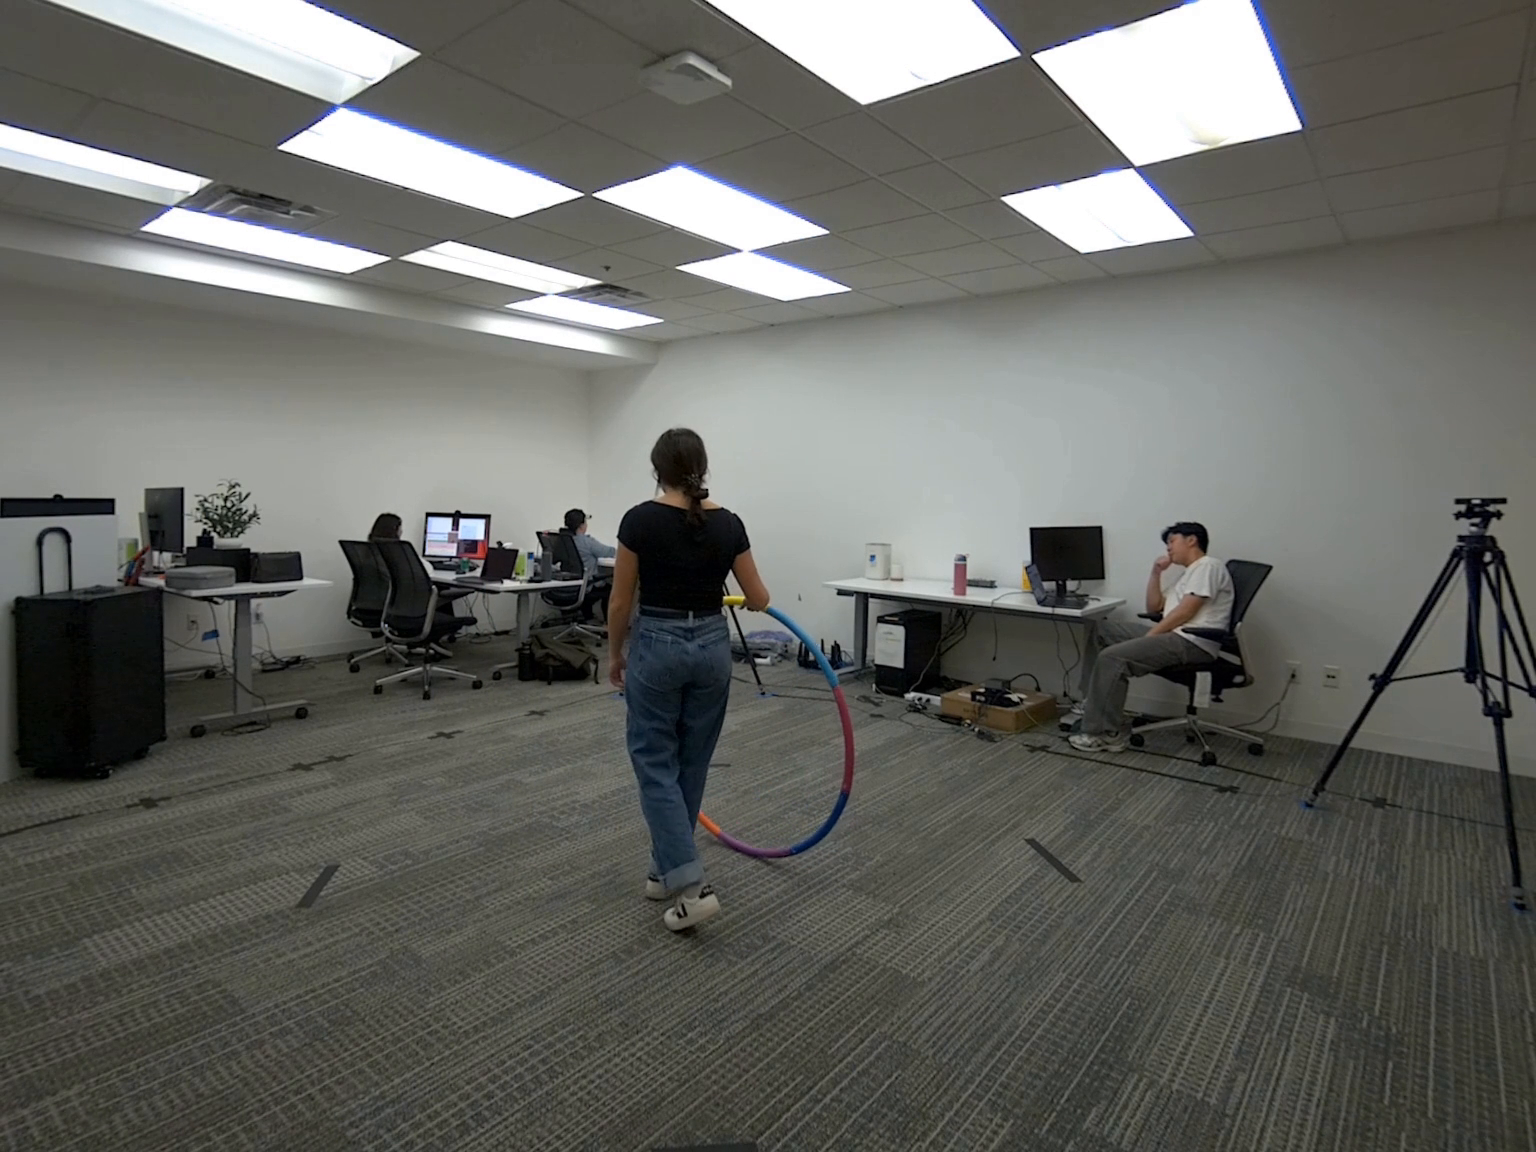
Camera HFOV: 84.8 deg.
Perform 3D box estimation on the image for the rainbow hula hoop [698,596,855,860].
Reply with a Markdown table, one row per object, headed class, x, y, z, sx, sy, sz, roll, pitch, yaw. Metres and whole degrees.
| class | x | y | z | sx | sy | sz | roll | pitch | yaw |
| --- | --- | --- | --- | --- | --- | --- | --- | --- | --- |
| rainbow hula hoop | -0.097 | 0.560 | 3.208 | 1.012 | 0.972 | 0.034 | 5 | 9 | 42 |
